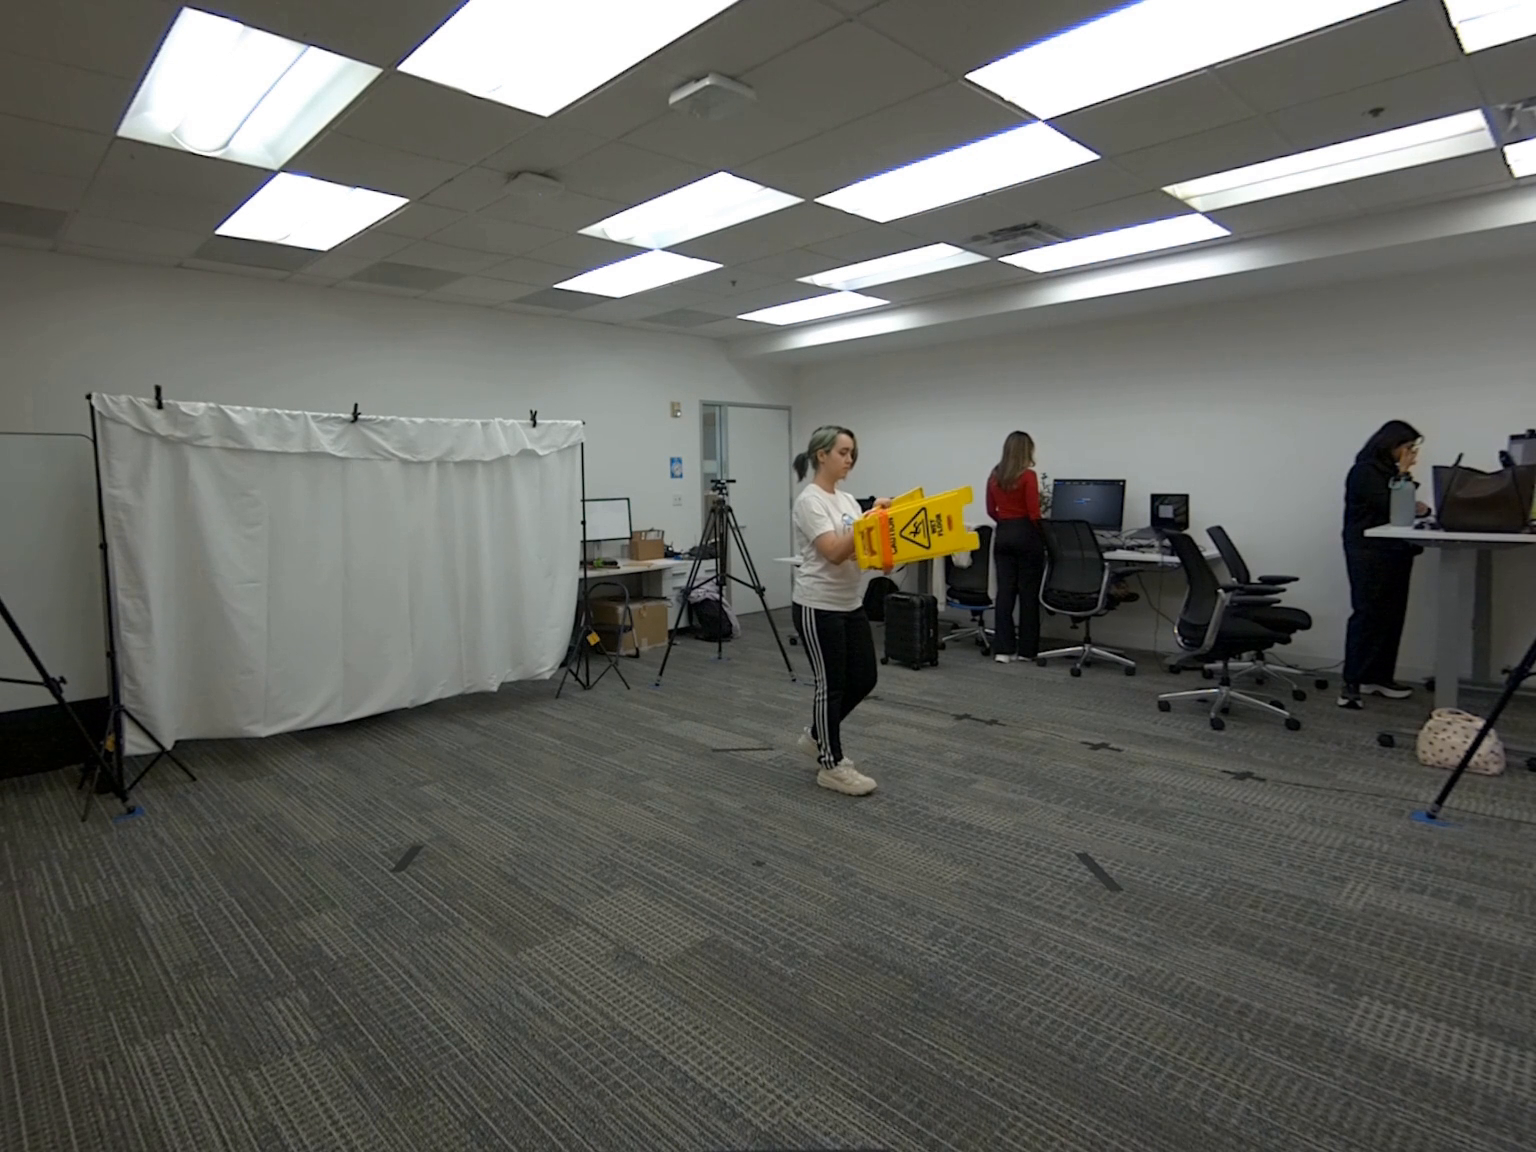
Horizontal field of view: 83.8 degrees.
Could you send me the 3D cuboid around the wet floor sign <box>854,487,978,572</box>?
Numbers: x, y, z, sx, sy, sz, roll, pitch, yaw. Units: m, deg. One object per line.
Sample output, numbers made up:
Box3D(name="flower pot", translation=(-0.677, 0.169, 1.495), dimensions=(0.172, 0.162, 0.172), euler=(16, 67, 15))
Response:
Box3D(name="wet floor sign", translation=(0.581, -0.188, 3.598), dimensions=(0.633, 0.280, 0.298), euler=(-17, 13, -42))
